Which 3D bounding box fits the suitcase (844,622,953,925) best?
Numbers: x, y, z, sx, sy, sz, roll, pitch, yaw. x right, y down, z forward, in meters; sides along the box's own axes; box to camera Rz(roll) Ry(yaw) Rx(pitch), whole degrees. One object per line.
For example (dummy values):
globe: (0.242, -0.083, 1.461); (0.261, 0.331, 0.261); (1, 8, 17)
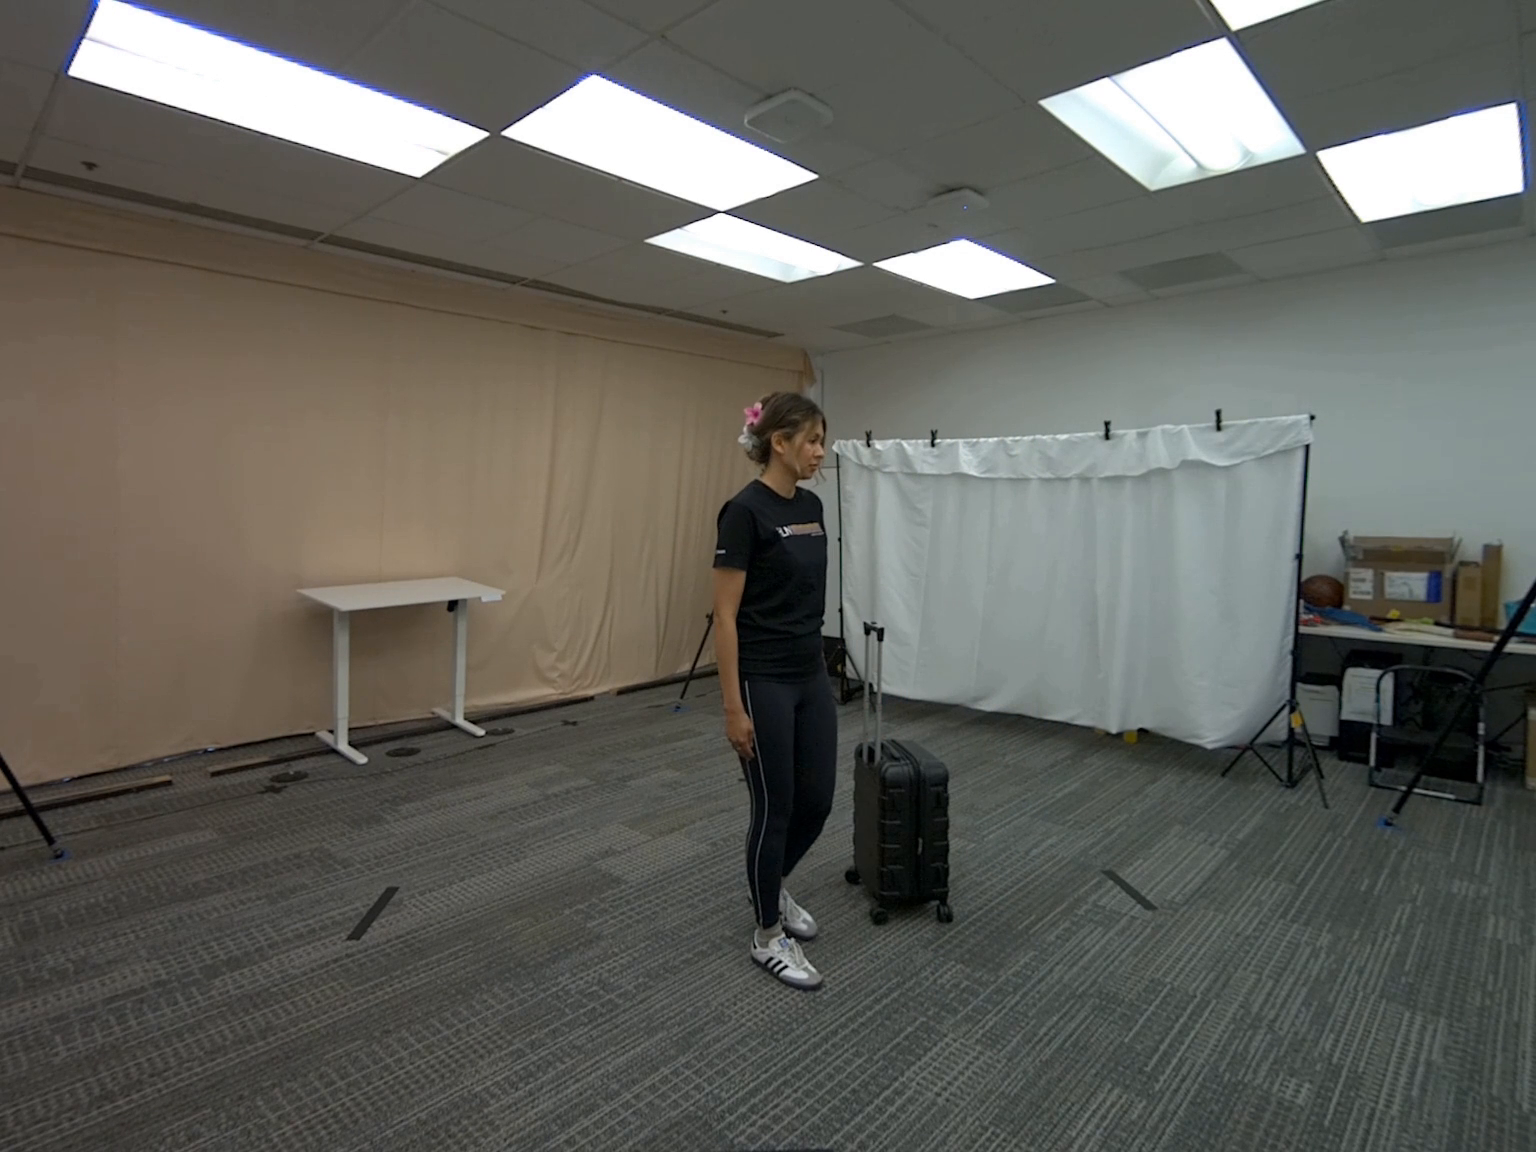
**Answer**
suitcase: (0.474, 0.666, 2.948); (0.255, 0.977, 0.388); (1, 3, -9)
